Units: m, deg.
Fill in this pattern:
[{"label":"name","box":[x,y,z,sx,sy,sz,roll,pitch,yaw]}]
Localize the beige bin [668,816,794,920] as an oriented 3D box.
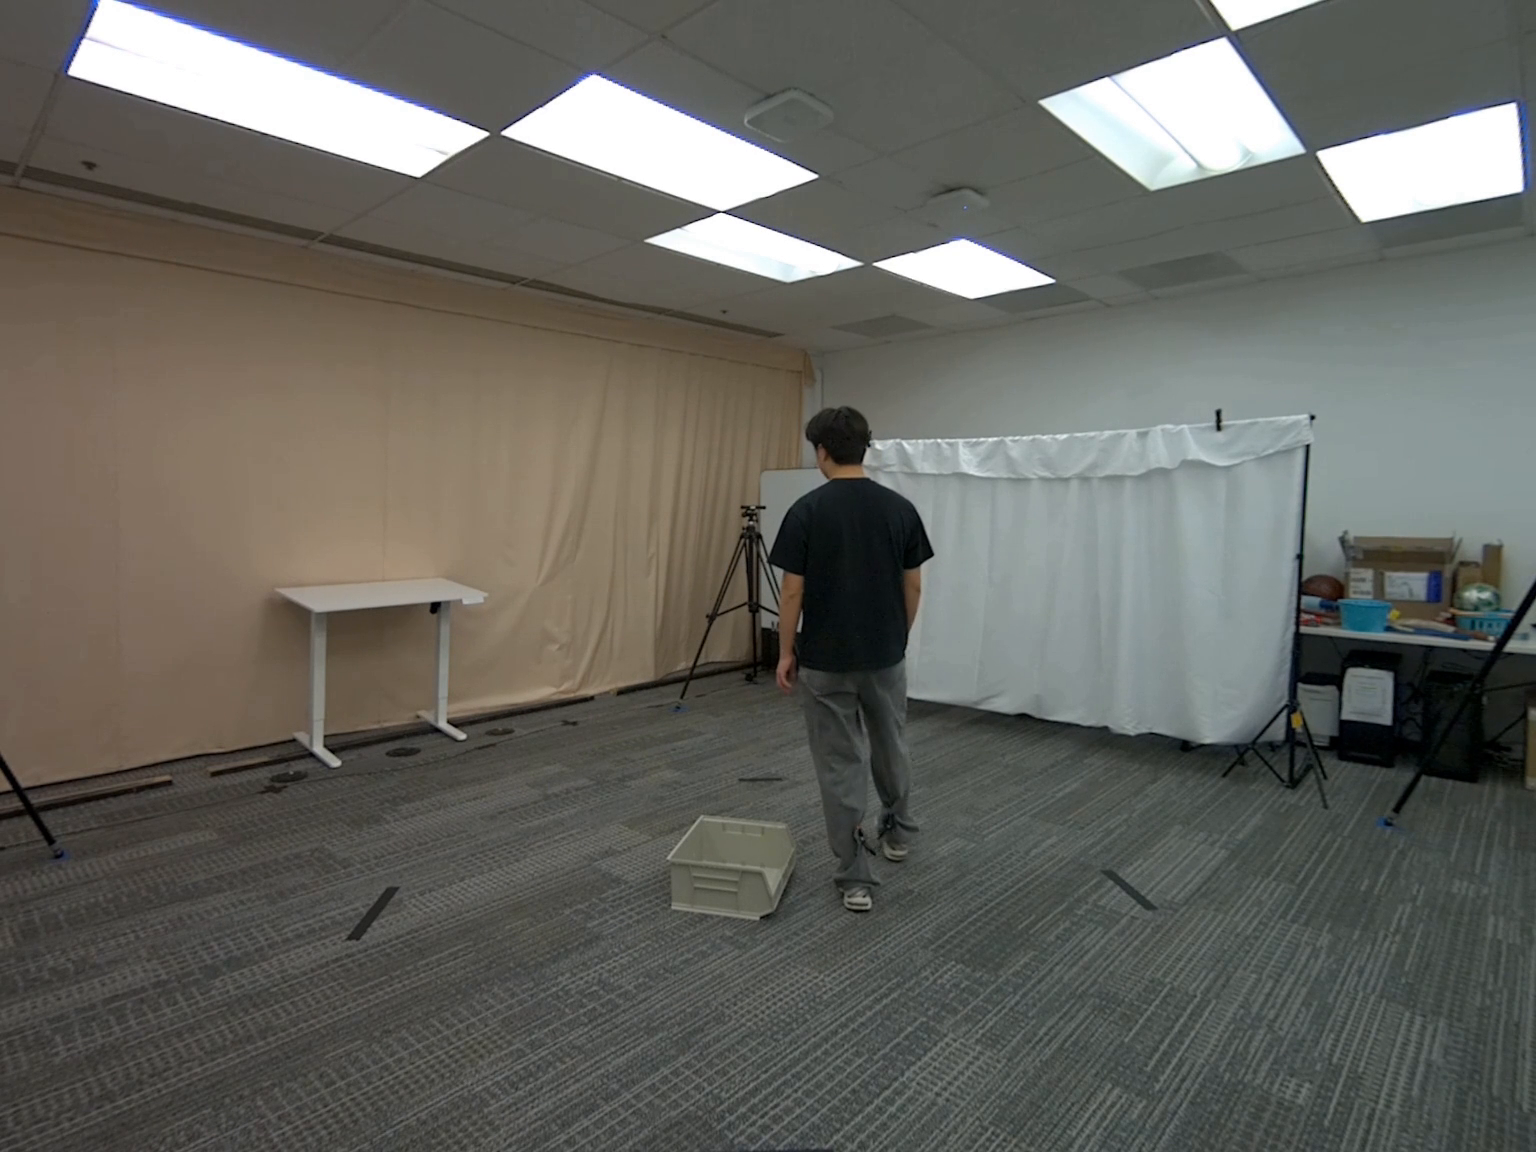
[{"label":"beige bin","box":[-0.122,1.052,3.056,0.383,0.188,0.417,0,5,13]}]
